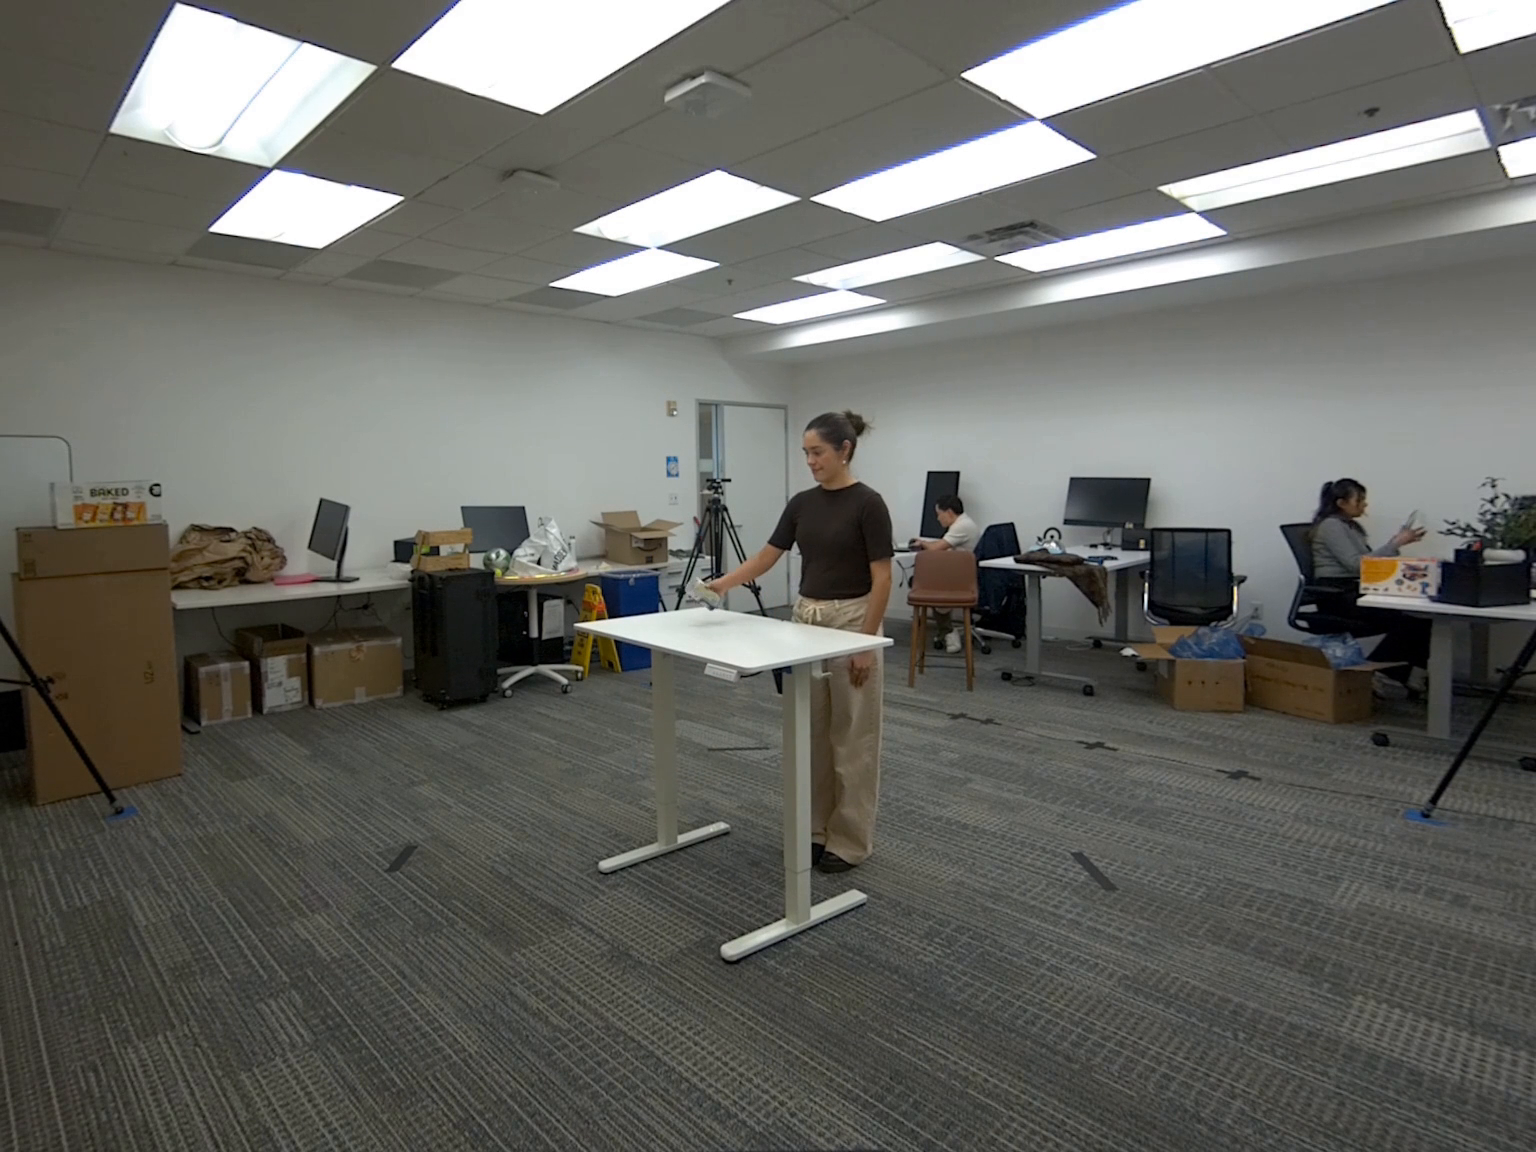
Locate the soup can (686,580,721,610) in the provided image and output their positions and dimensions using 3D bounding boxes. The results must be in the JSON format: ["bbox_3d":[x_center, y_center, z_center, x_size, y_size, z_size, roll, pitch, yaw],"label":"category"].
[{"bbox_3d":[-0.223,0.065,2.986,0.067,0.121,0.067,-39,0,-1],"label":"soup can"}]
